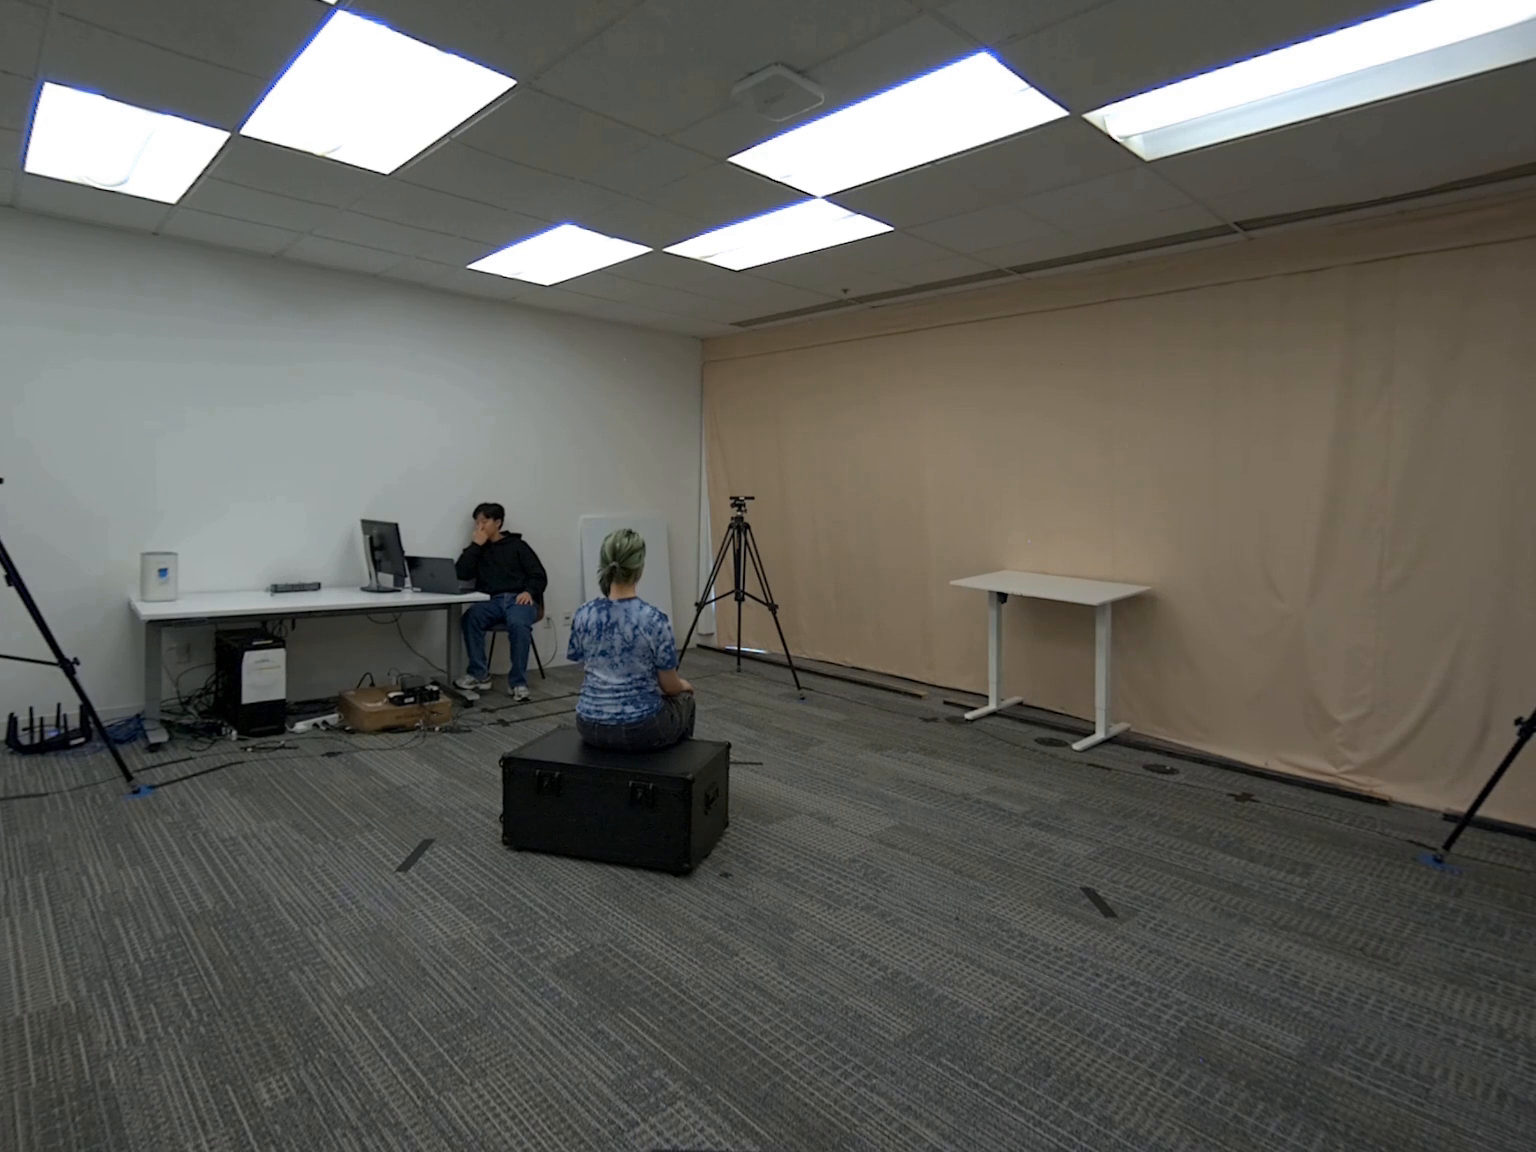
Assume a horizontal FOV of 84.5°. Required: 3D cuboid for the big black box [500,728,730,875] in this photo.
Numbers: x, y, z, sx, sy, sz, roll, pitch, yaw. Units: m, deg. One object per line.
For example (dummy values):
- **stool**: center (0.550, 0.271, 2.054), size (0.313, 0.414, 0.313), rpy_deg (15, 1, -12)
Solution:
- **big black box**: center (-0.633, 0.878, 3.388), size (0.872, 0.395, 0.516), rpy_deg (3, 5, 15)
